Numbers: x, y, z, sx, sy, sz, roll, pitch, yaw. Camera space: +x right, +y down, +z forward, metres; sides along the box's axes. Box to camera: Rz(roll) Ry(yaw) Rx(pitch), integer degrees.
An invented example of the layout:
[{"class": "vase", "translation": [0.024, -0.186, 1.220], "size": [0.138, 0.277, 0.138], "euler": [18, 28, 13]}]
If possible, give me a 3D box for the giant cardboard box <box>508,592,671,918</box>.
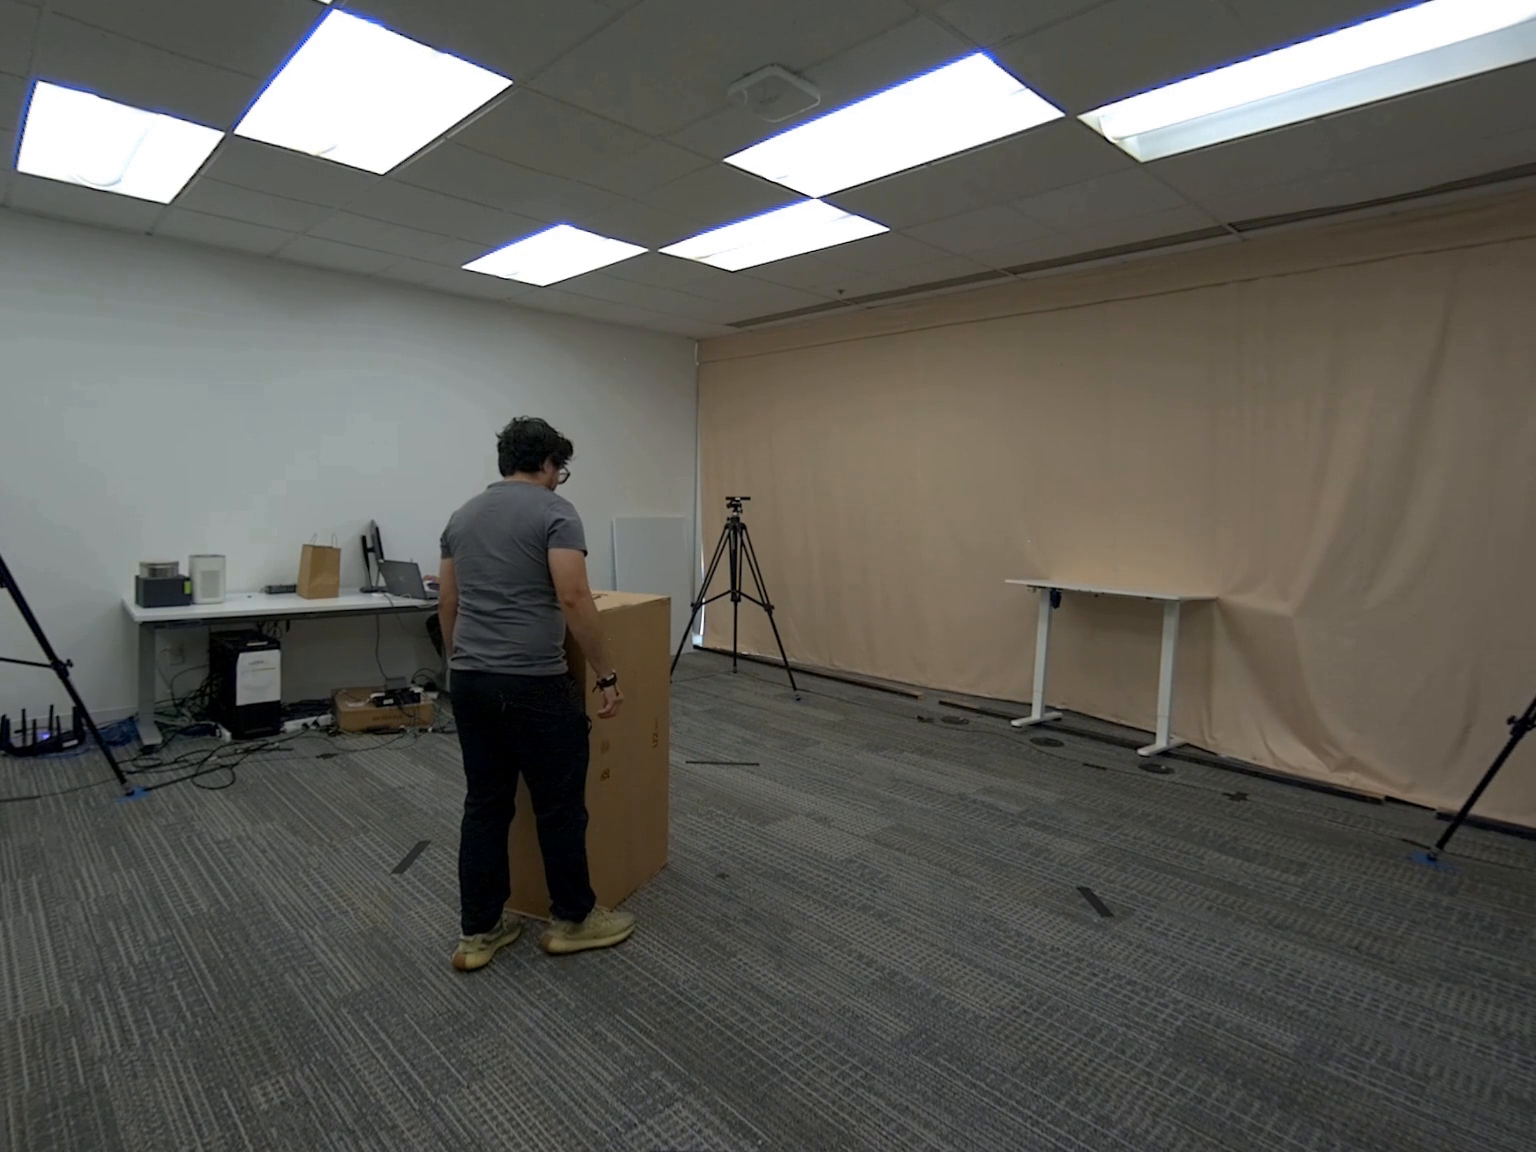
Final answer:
[{"class": "giant cardboard box", "translation": [-0.671, 0.599, 2.997], "size": [0.455, 1.024, 0.575], "euler": [3, 4, 22]}]
